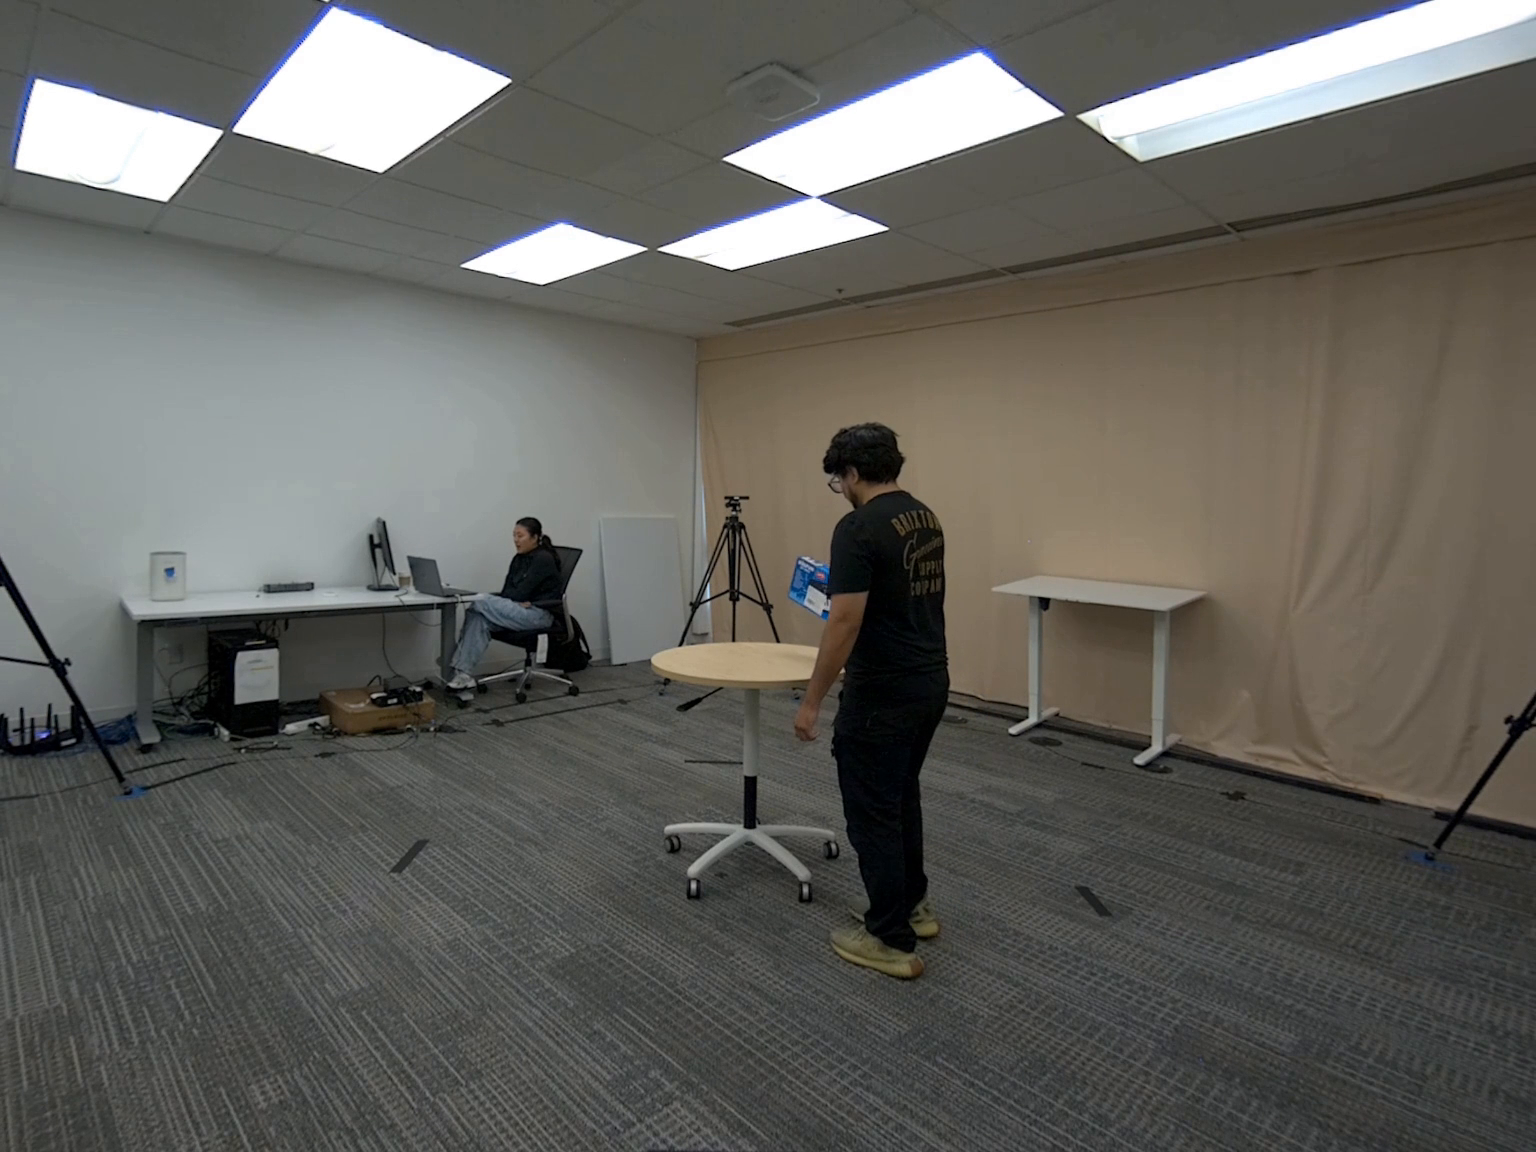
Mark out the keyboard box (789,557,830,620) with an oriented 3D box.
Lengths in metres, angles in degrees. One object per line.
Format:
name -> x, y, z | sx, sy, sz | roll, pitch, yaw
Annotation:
keyboard box -> 0.251, 0.093, 3.137 | 0.058, 0.174, 0.451 | -1, 22, -40
